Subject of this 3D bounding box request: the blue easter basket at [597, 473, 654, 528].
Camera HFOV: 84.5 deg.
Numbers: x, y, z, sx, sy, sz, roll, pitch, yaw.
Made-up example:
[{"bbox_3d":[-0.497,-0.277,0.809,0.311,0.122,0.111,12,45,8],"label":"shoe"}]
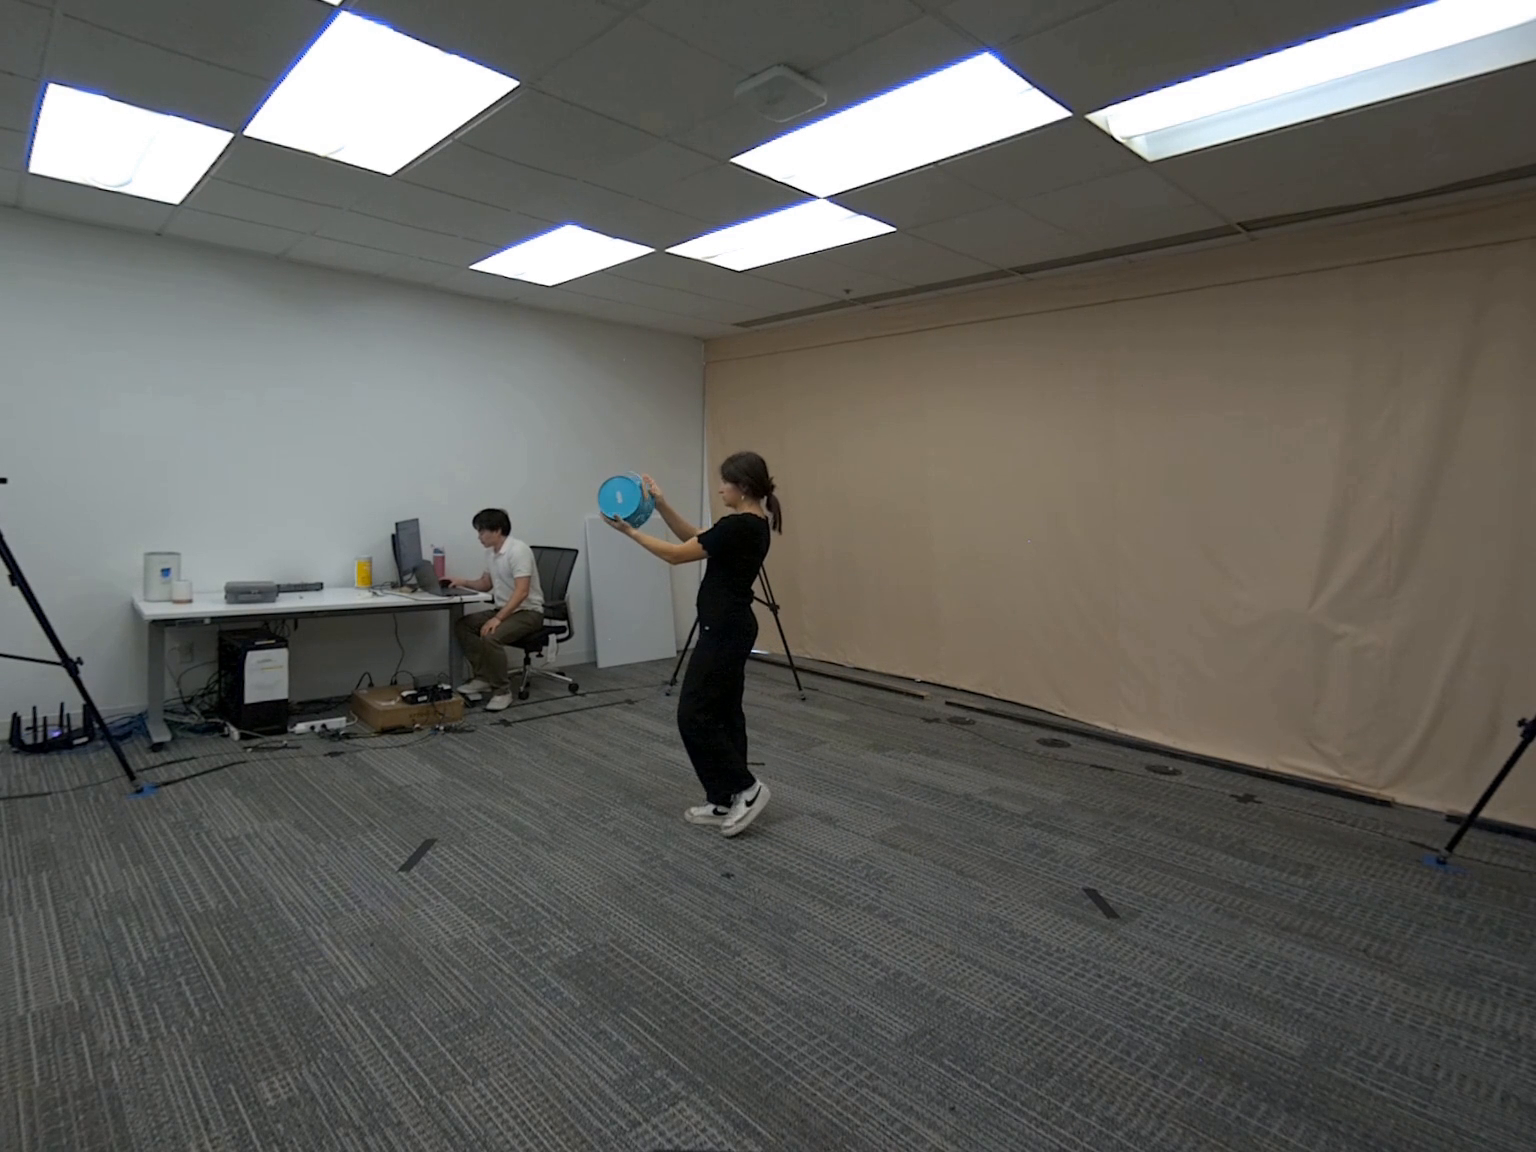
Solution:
[{"bbox_3d":[-0.616,-0.325,3.567,0.244,0.244,0.155,1,-5,1],"label":"blue easter basket"}]
